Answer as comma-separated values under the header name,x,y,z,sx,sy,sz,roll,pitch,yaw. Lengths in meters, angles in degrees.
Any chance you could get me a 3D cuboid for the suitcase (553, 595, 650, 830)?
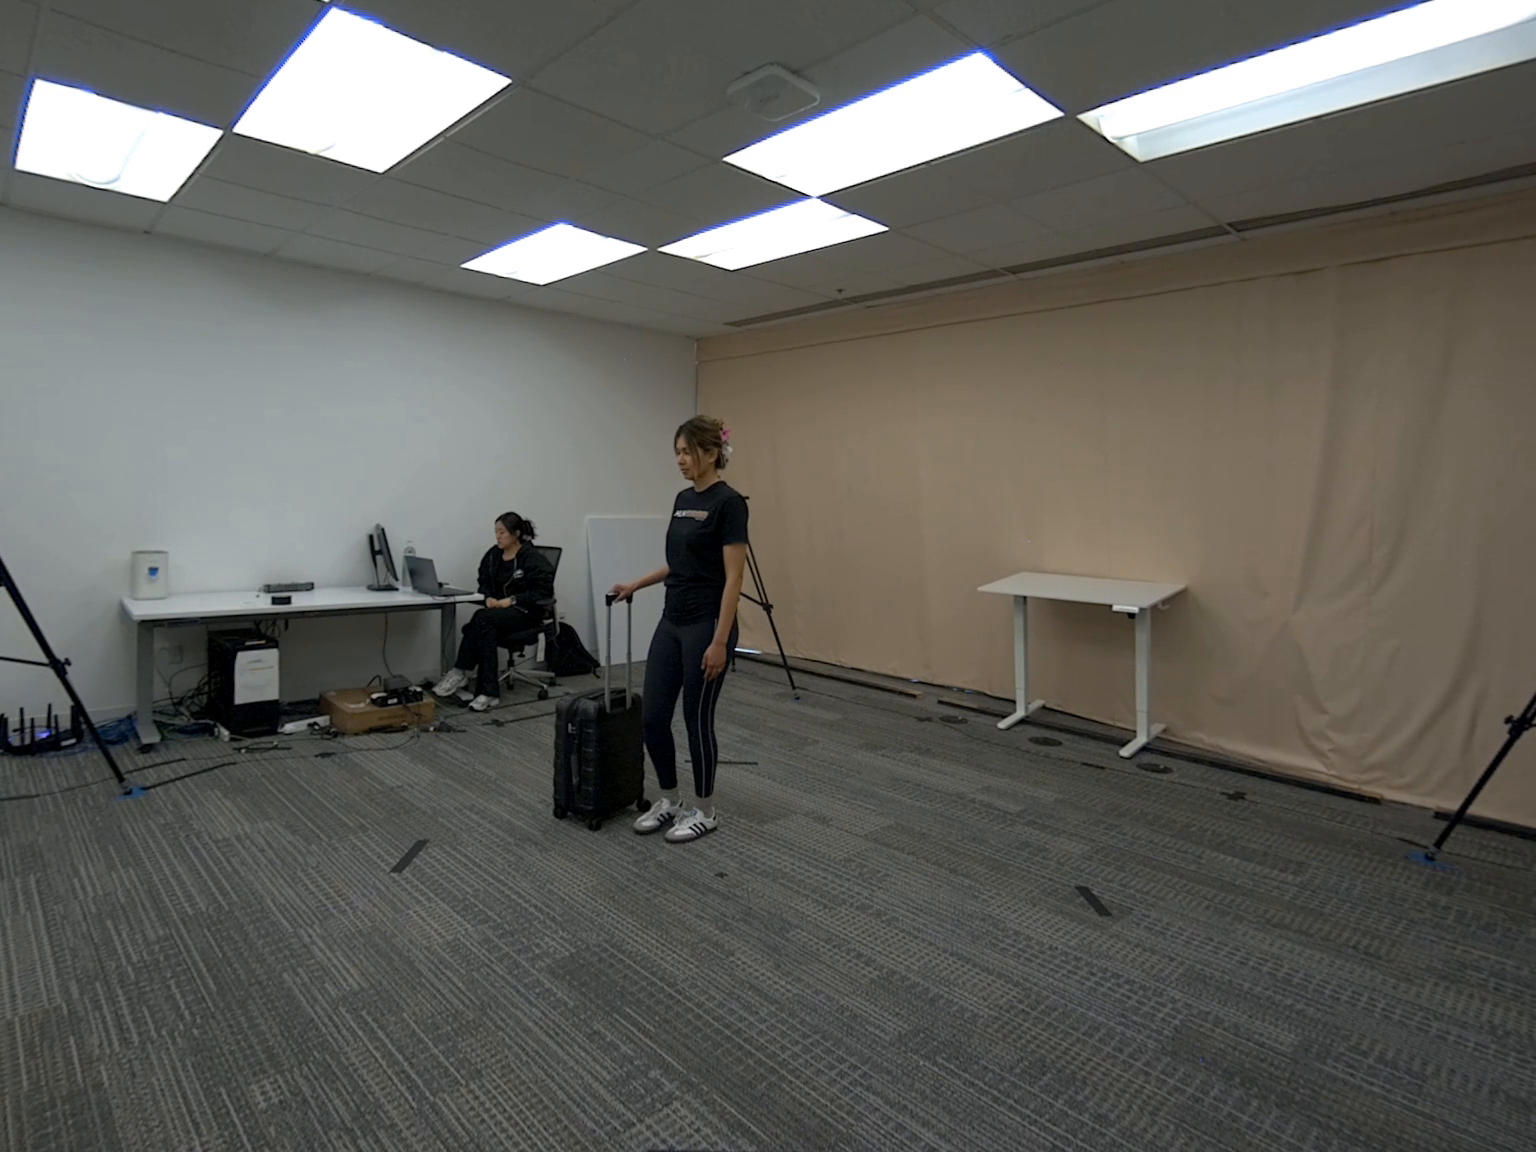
name,x,y,z,sx,sy,sz,roll,pitch,yaw
suitcase,-0.751,0.568,3.642,0.263,0.976,0.376,-1,3,35
